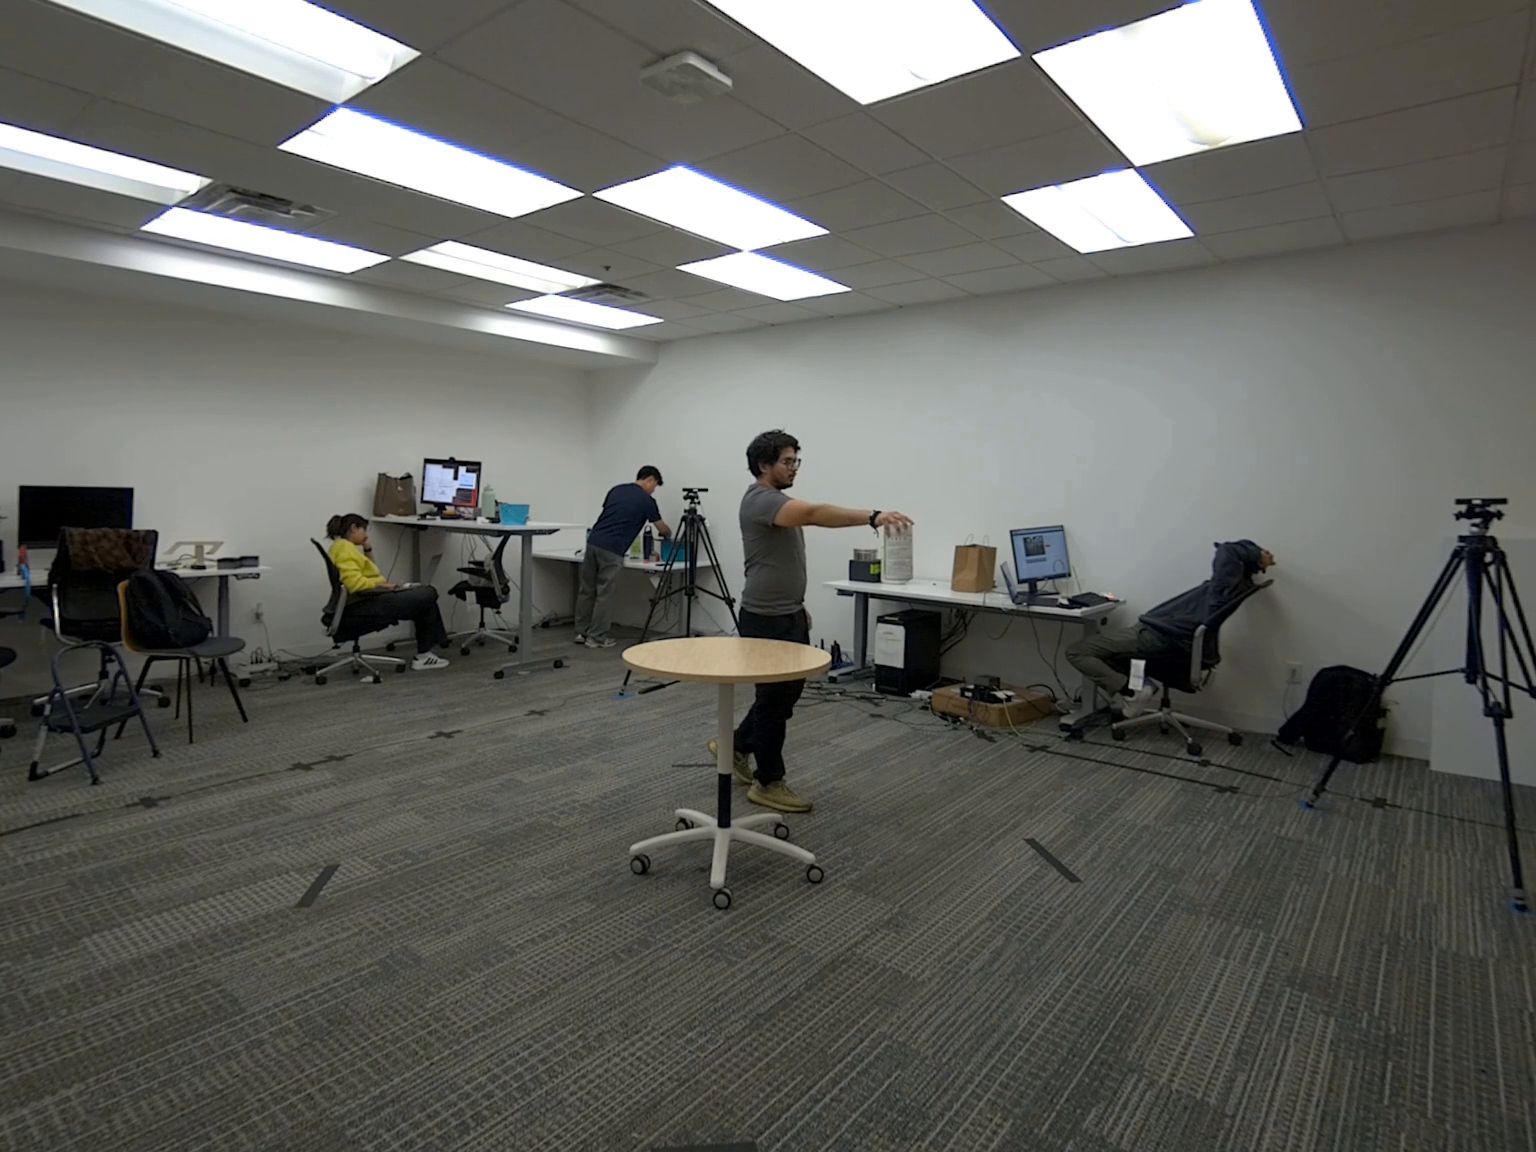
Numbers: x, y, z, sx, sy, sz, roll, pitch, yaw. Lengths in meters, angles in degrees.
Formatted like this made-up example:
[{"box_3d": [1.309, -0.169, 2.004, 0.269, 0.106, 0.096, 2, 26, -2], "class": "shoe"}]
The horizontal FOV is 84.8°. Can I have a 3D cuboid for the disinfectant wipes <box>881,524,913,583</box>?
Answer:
[{"box_3d": [0.487, -0.097, 3.259, 0.118, 0.217, 0.118, -1, 3, -2], "class": "disinfectant wipes"}]
